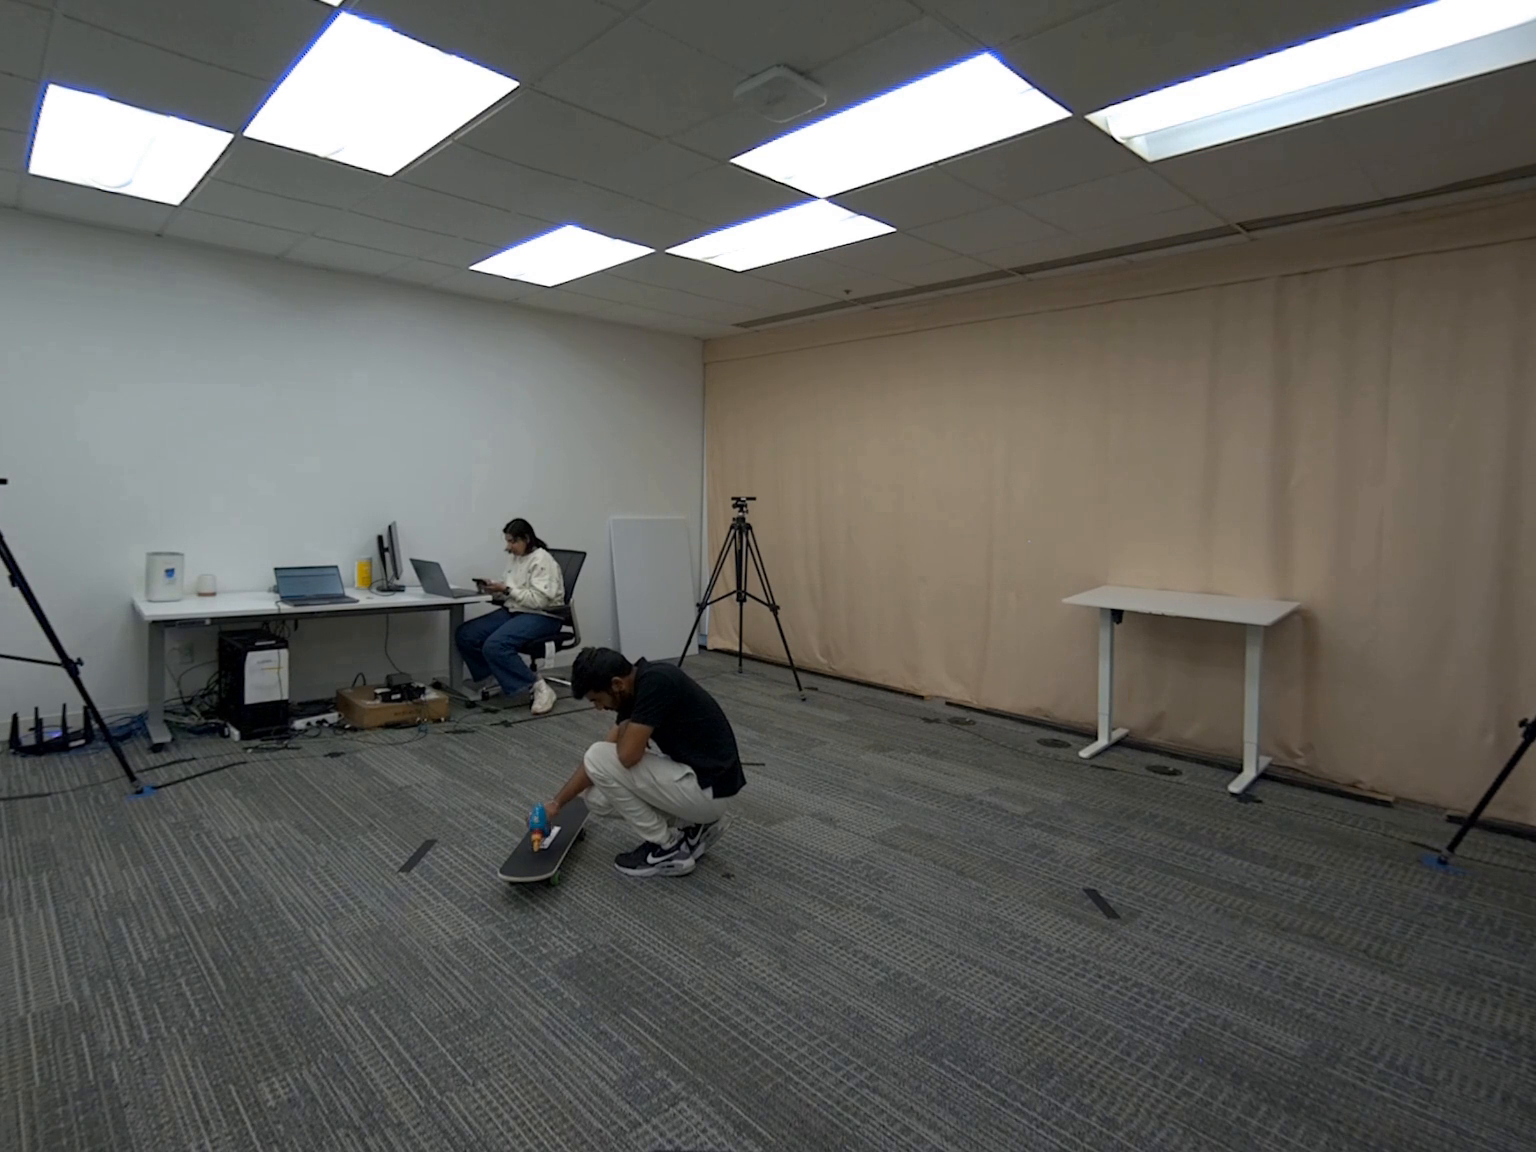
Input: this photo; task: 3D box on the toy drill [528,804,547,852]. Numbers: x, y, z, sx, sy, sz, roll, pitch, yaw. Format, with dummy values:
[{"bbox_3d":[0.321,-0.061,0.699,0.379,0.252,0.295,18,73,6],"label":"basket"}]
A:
[{"bbox_3d":[-0.834,0.910,3.051,0.061,0.173,0.143,0,-41,-3],"label":"toy drill"}]
